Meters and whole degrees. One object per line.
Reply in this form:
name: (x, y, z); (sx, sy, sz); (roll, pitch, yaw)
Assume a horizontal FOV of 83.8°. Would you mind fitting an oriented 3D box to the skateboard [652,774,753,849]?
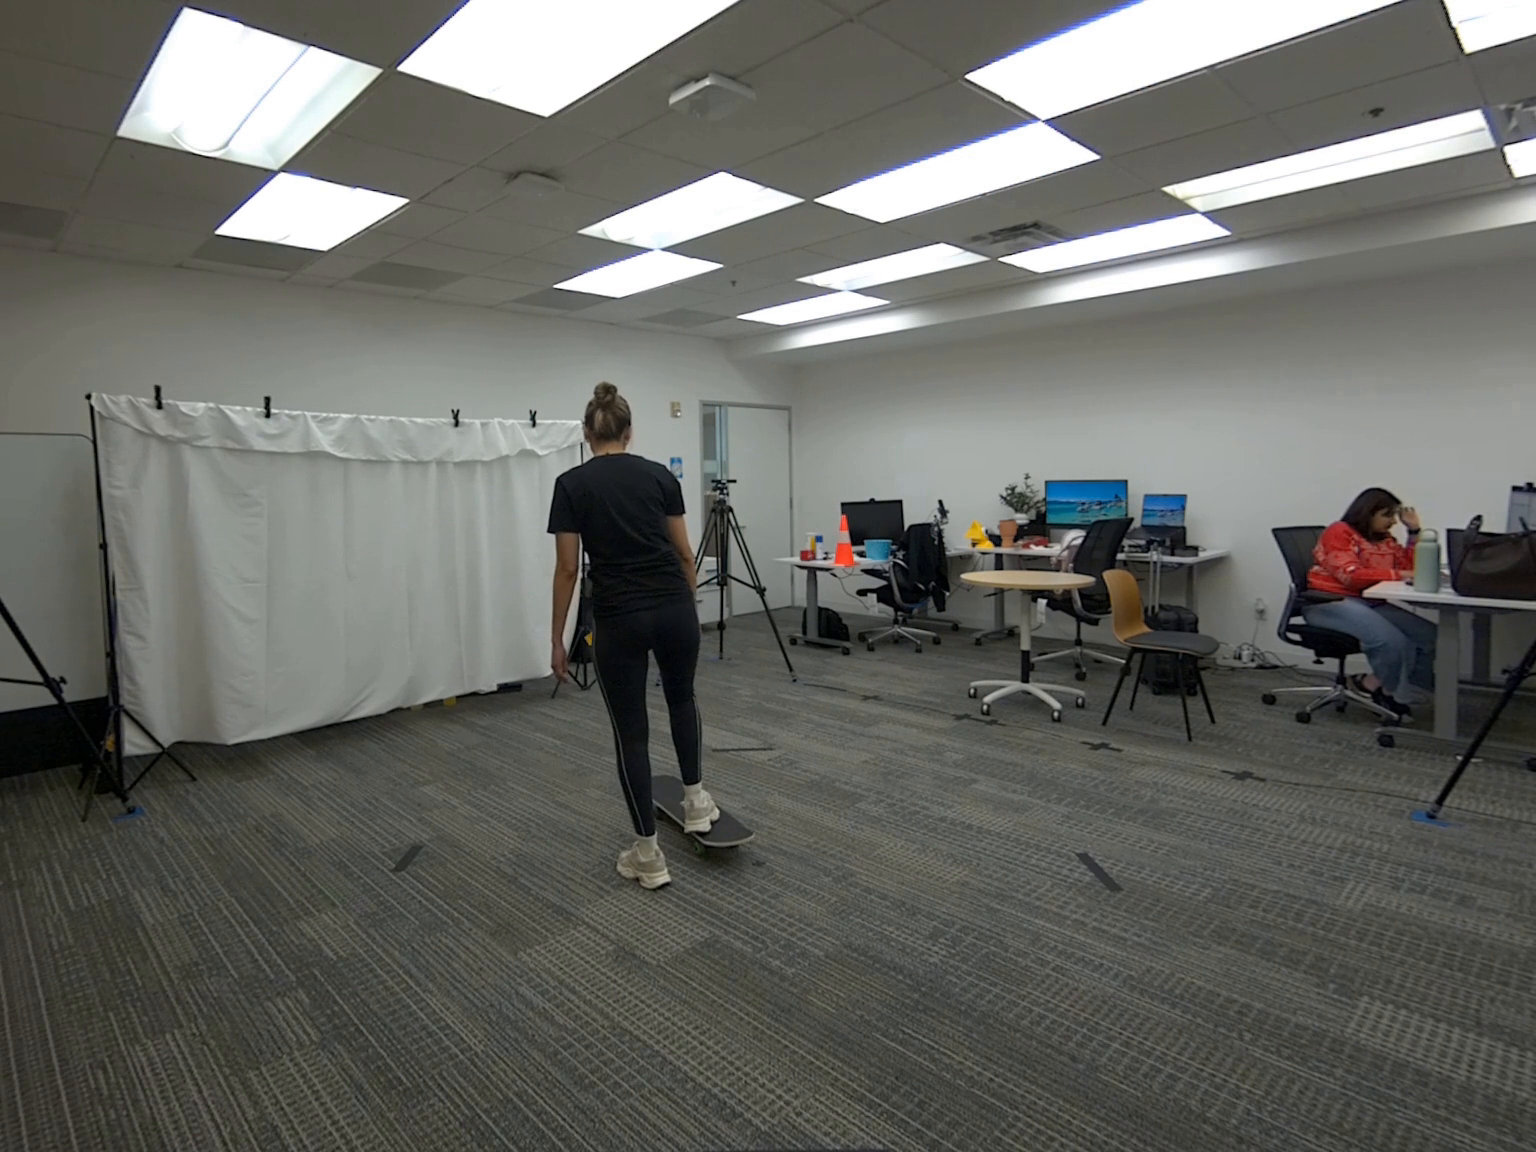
skateboard: (-0.295, 0.963, 3.409); (0.189, 0.110, 0.806); (-4, 7, -29)
